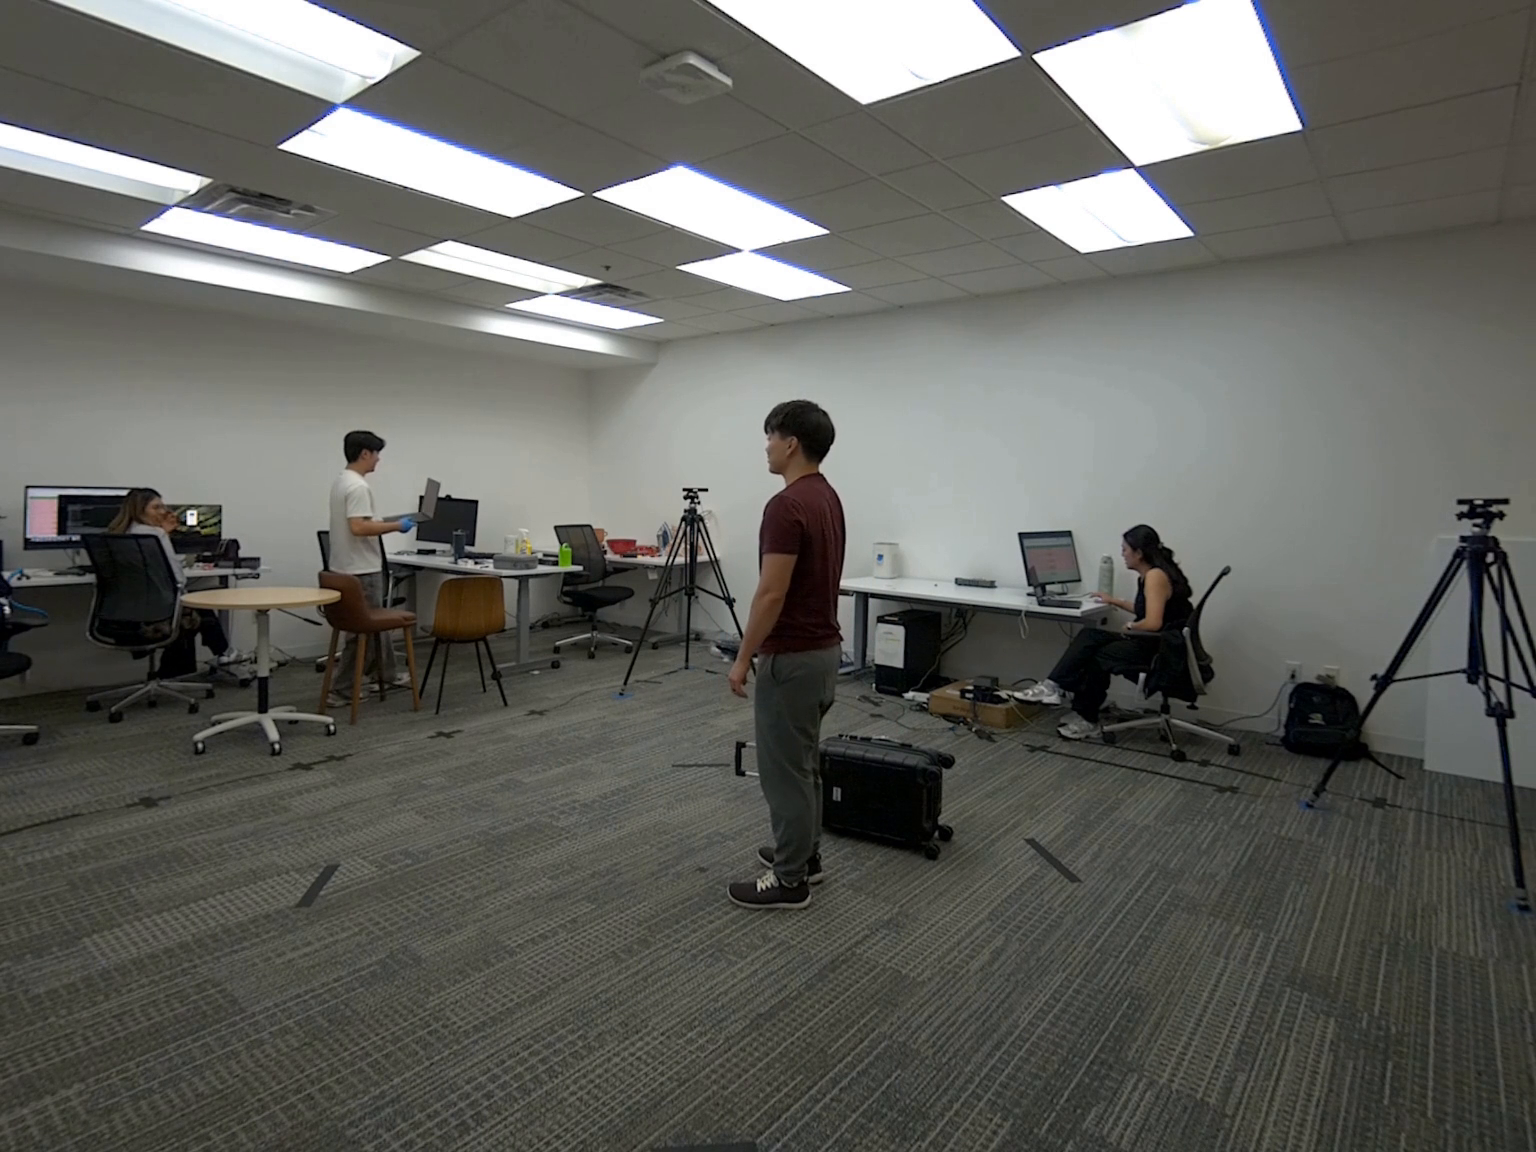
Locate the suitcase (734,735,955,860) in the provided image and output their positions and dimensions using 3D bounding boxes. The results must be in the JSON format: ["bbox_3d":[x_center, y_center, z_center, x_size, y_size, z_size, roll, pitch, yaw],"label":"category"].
[{"bbox_3d":[0.256,0.849,3.556,1.005,0.383,0.250,3,2,26],"label":"suitcase"}]
